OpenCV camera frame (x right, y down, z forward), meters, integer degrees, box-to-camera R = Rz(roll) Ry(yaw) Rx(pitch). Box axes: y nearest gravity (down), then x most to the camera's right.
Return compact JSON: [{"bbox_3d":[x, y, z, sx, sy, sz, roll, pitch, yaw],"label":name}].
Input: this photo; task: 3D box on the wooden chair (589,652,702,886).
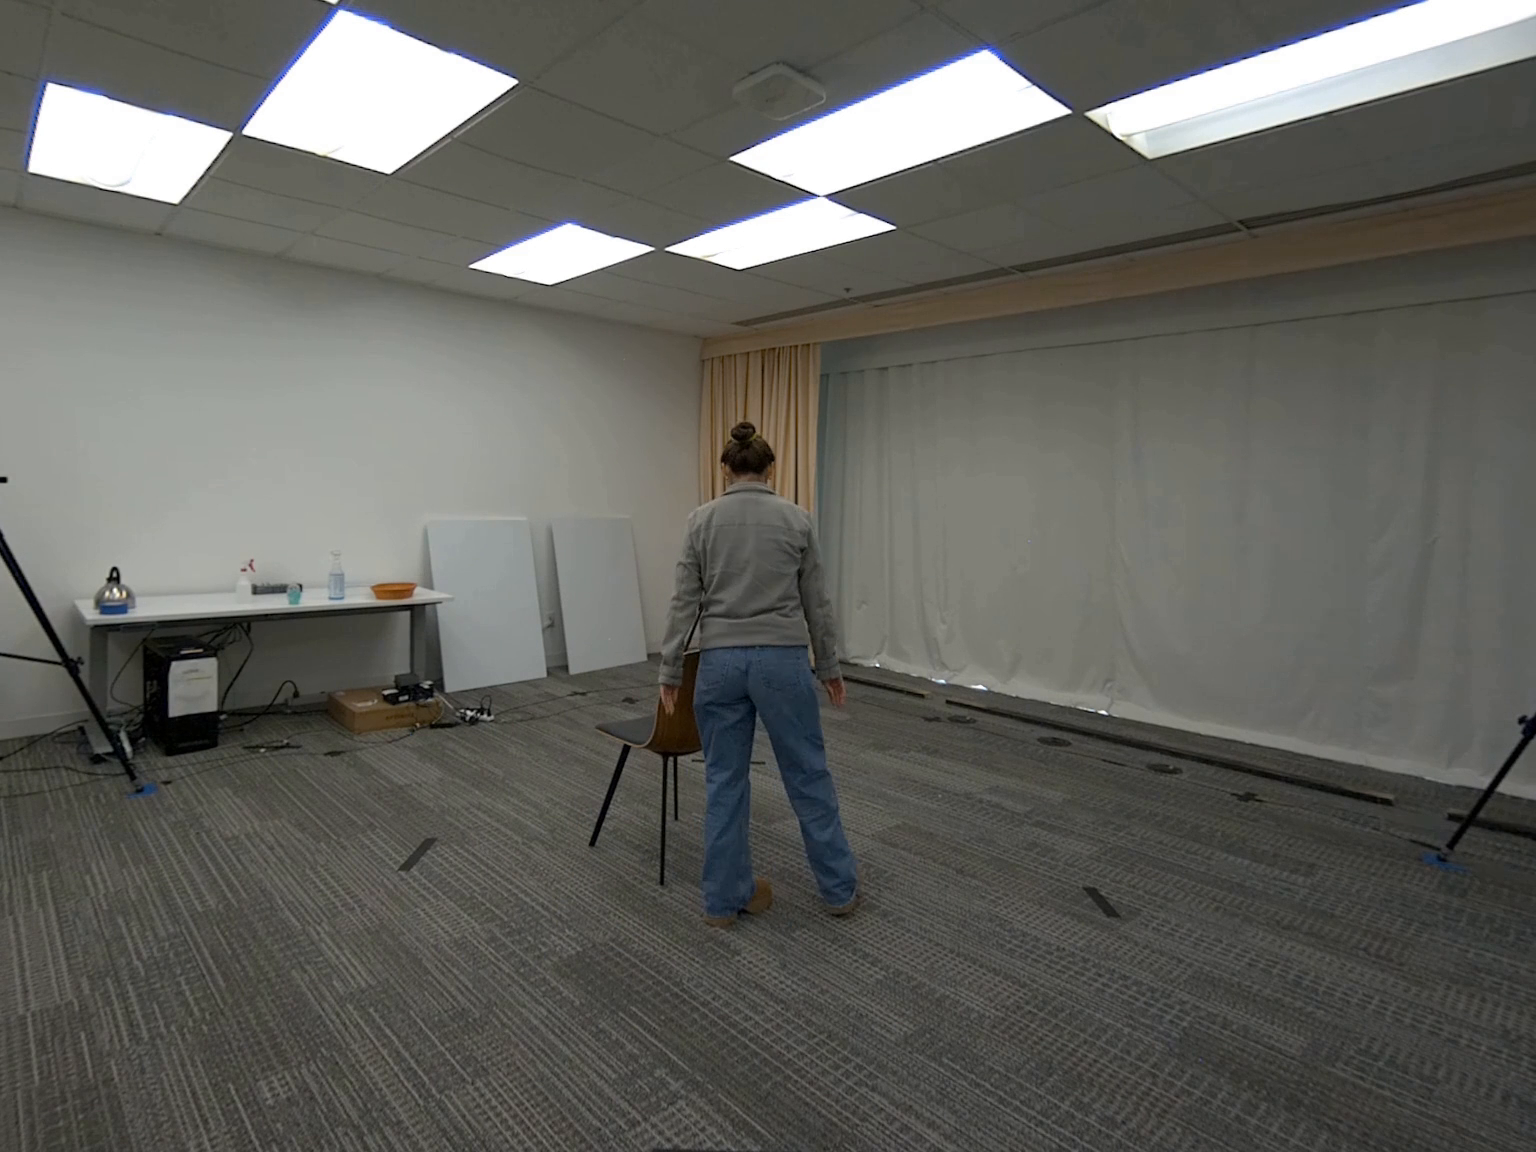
[{"bbox_3d":[-0.388,0.651,3.289,0.467,0.873,0.537,-2,10,-45],"label":"wooden chair"}]
